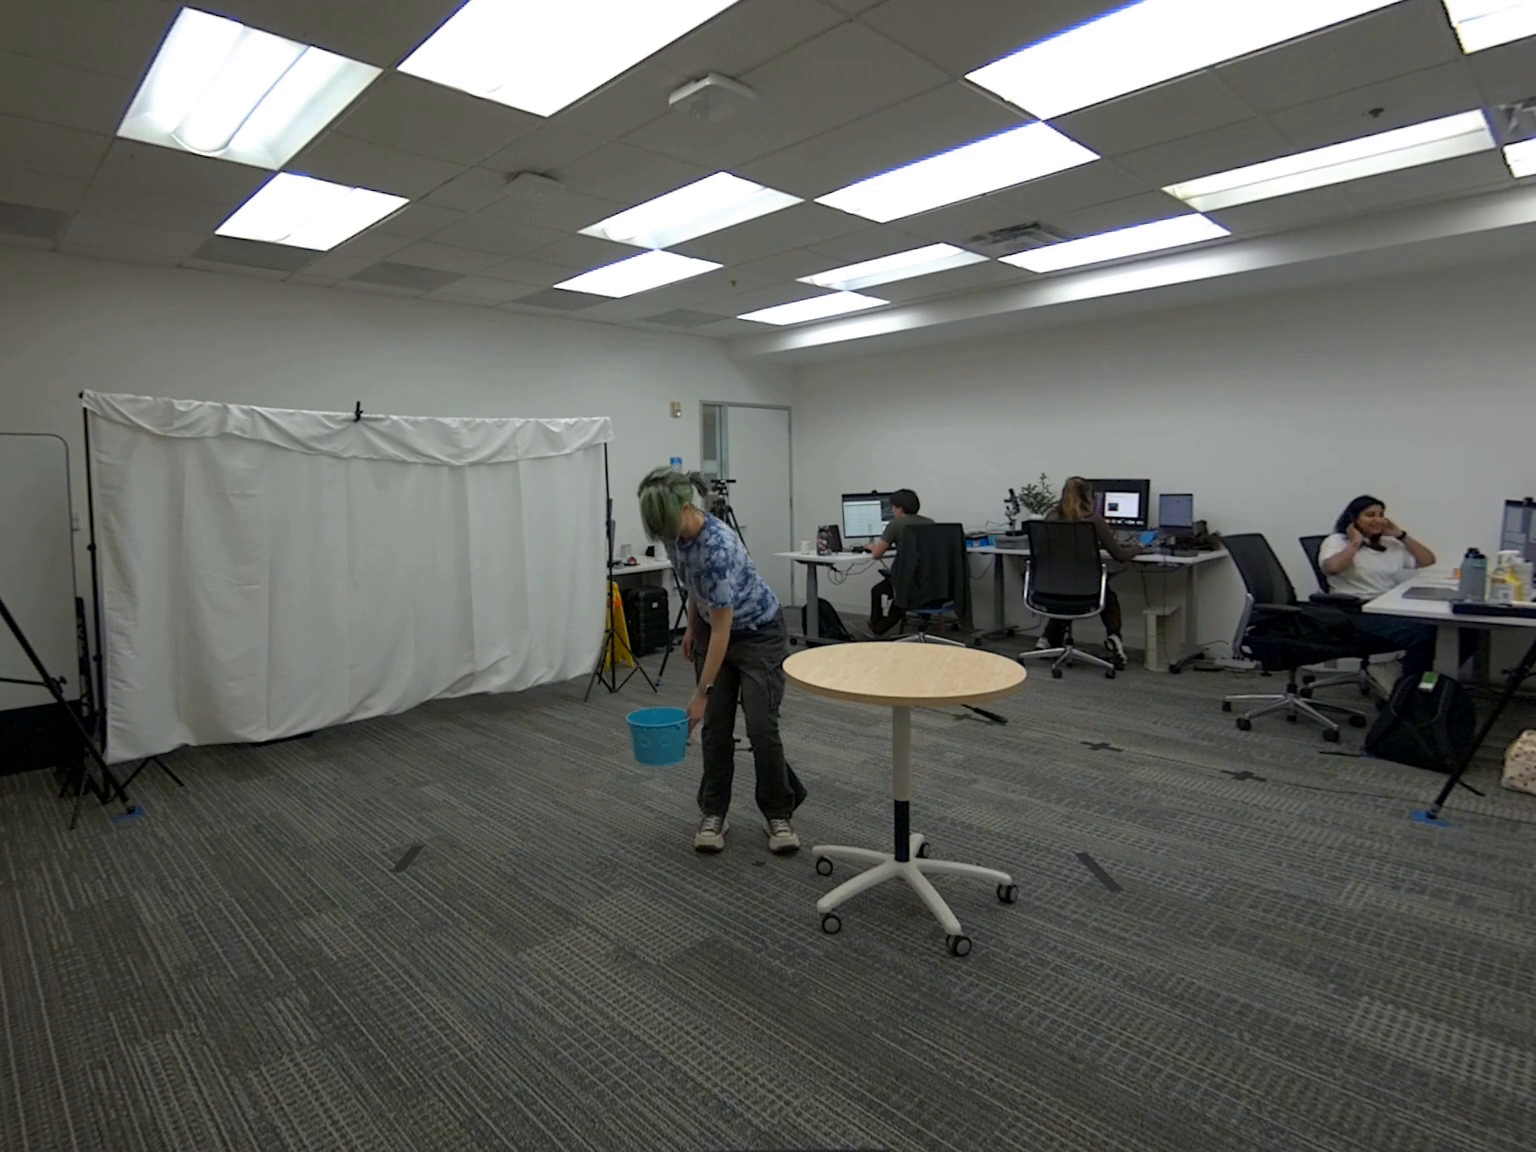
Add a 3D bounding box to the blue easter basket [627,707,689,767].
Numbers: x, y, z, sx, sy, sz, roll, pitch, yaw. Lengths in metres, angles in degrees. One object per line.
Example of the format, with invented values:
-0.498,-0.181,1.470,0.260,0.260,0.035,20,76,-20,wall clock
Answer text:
-0.381,0.580,3.058,0.243,0.155,0.245,-1,7,-2,blue easter basket
